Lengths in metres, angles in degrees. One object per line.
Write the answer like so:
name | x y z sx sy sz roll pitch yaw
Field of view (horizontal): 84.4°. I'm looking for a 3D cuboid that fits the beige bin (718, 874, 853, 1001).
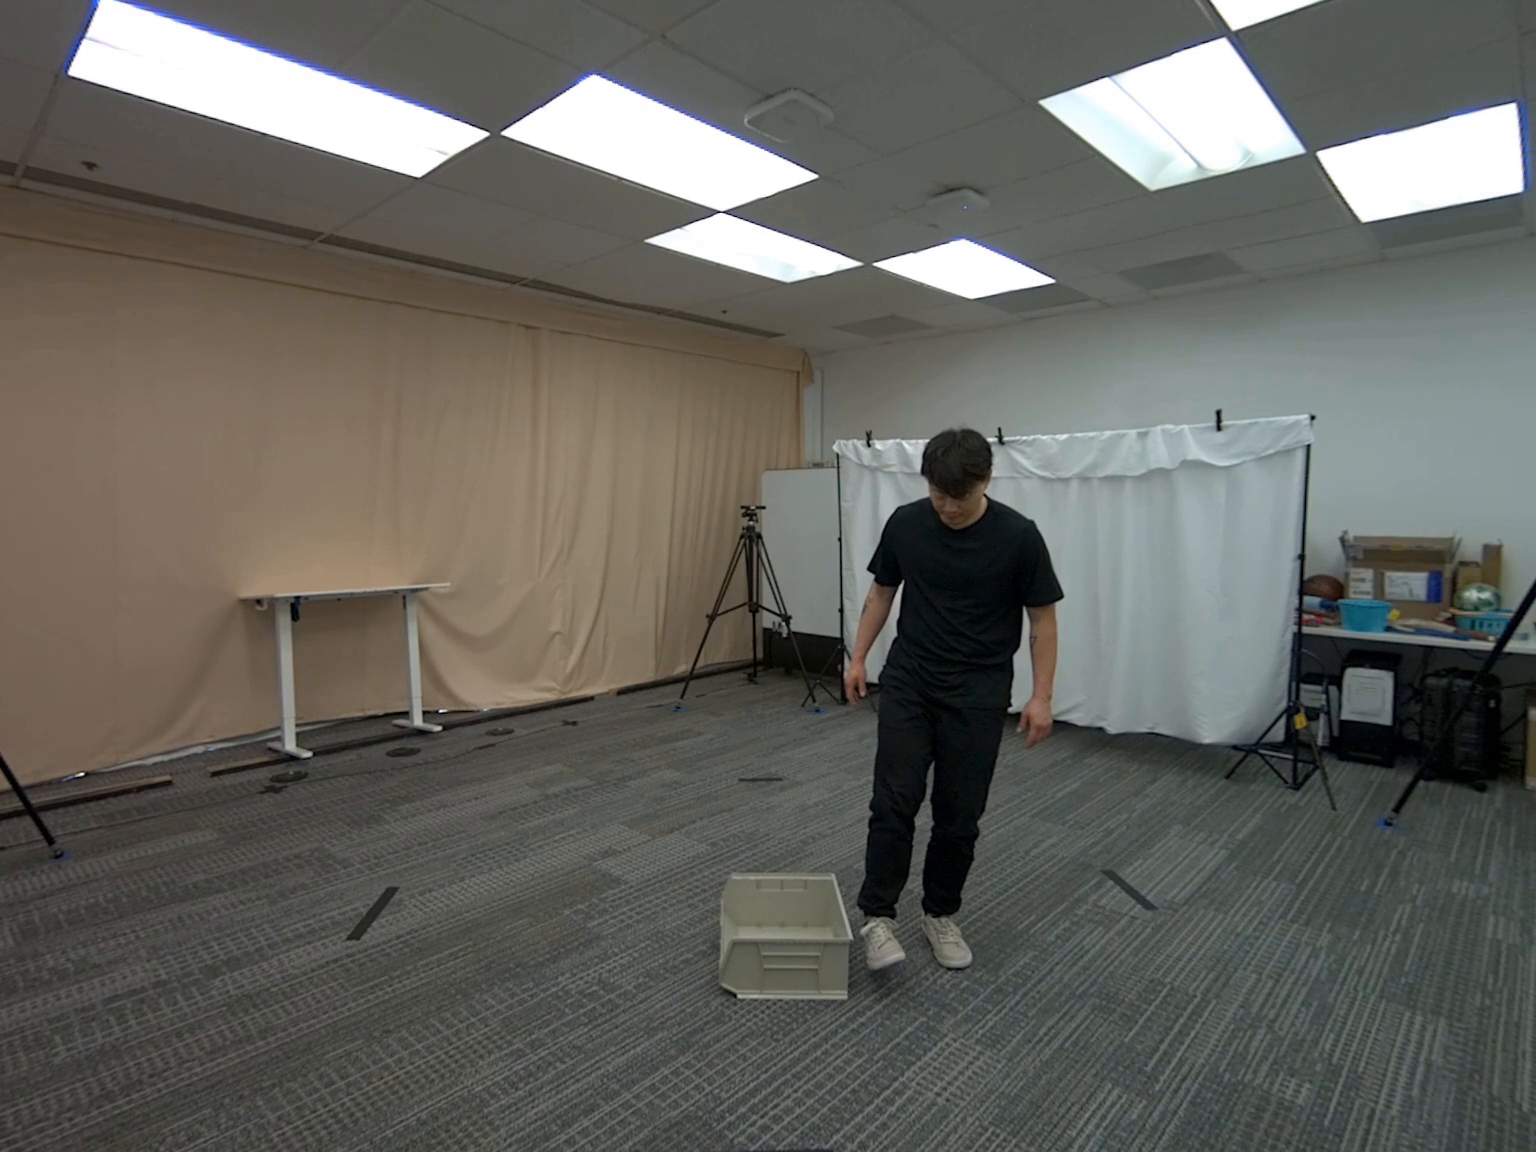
beige bin | 0.043 1.093 2.569 0.377 0.189 0.423 1 3 -1
